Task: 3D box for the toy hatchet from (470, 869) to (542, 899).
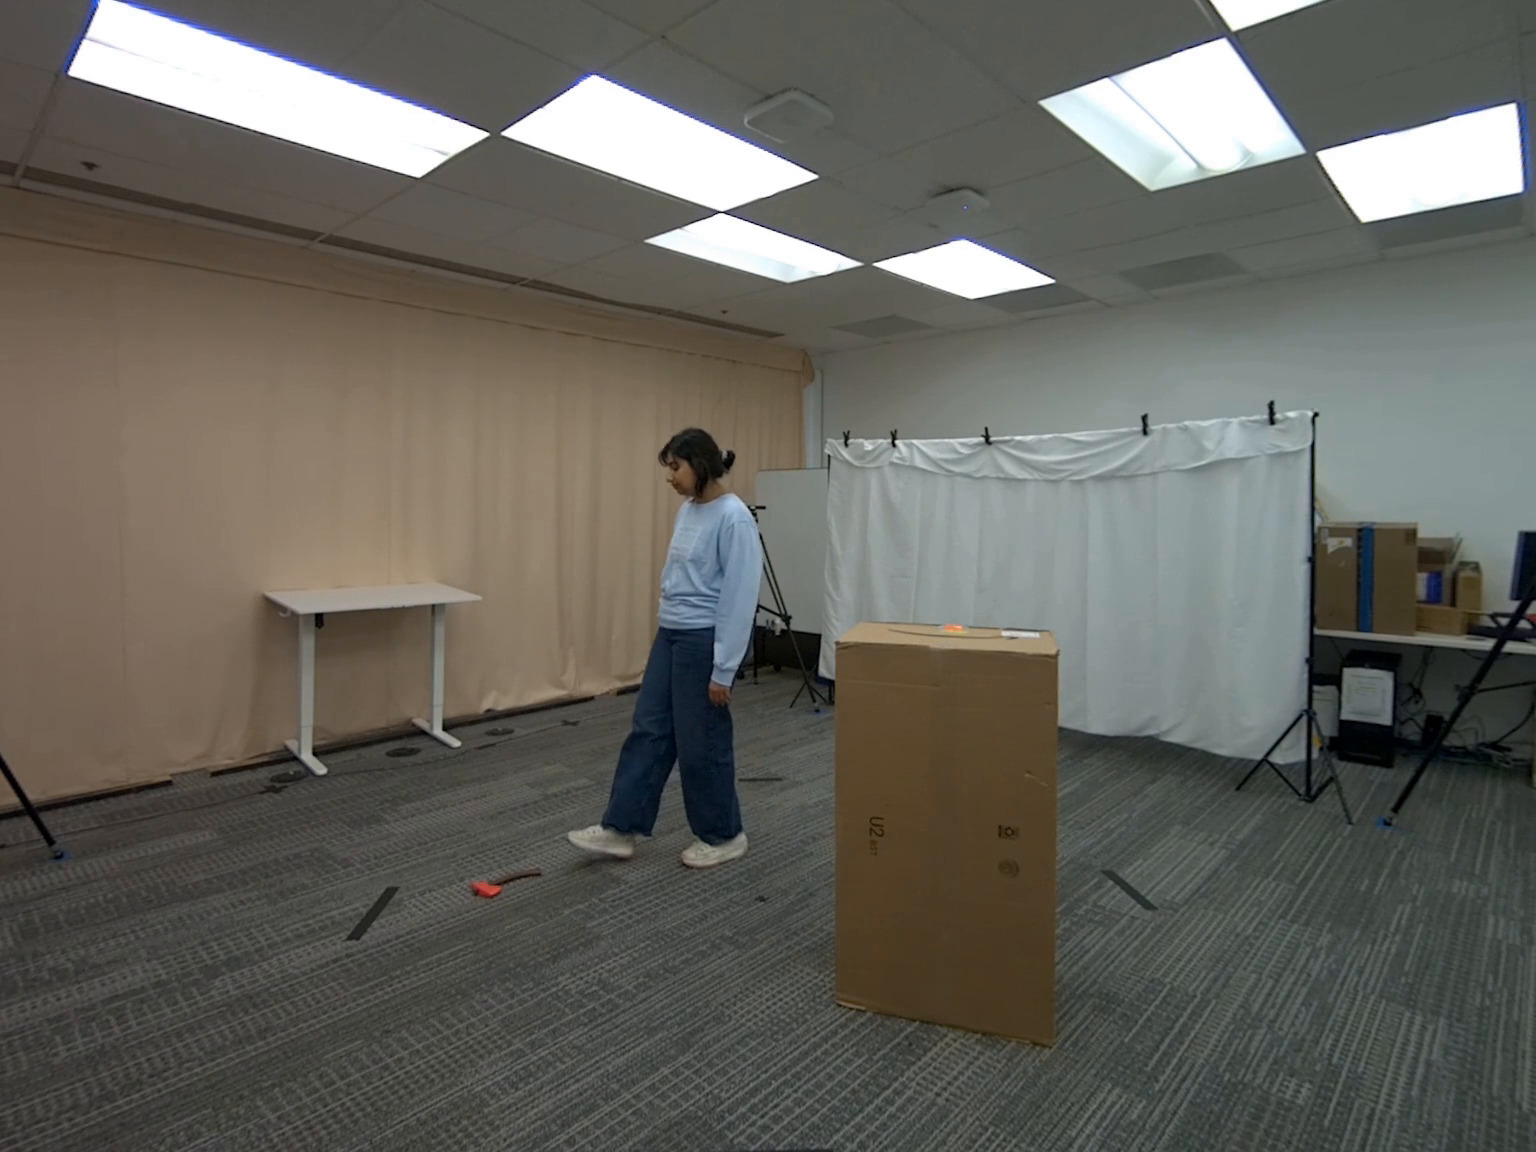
[{"bbox_3d":[-0.957,1.138,3.098,0.262,0.029,0.135,-1,3,-31],"label":"toy hatchet"}]
